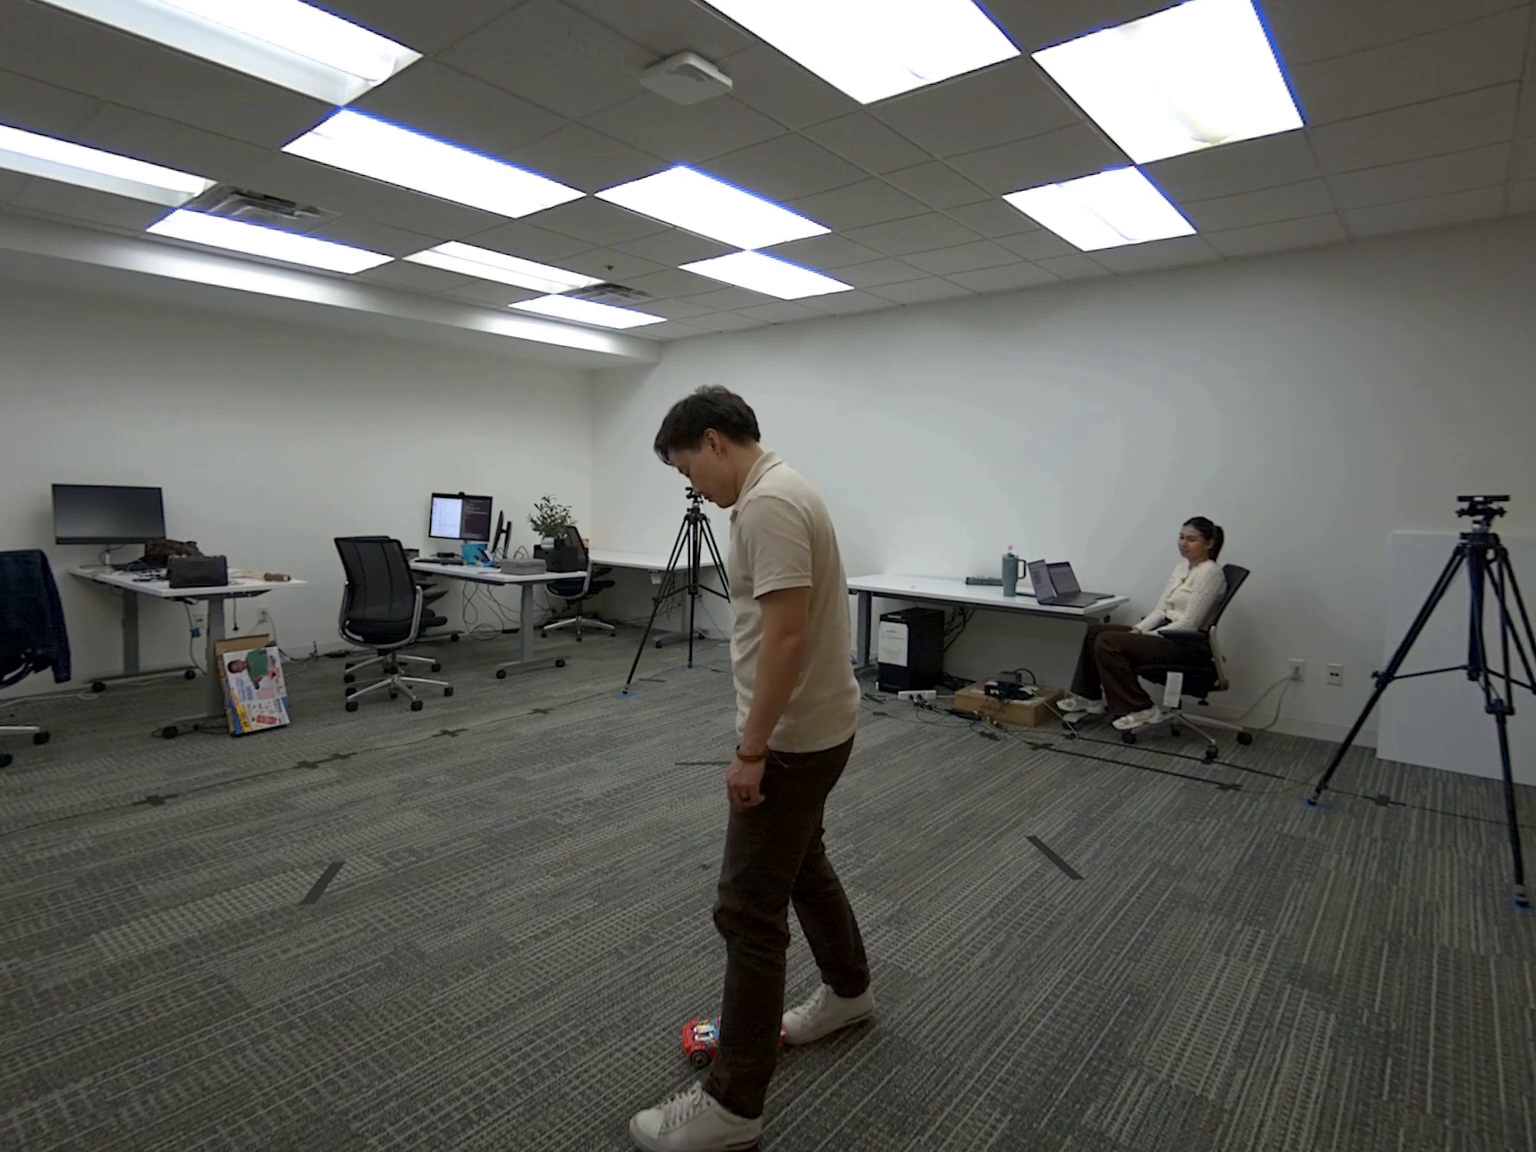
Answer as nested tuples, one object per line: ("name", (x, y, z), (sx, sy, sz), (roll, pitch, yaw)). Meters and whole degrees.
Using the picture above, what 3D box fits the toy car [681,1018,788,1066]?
("toy car", (-0.089, 1.146, 2.103), (0.253, 0.083, 0.132), (-10, 7, -7))
